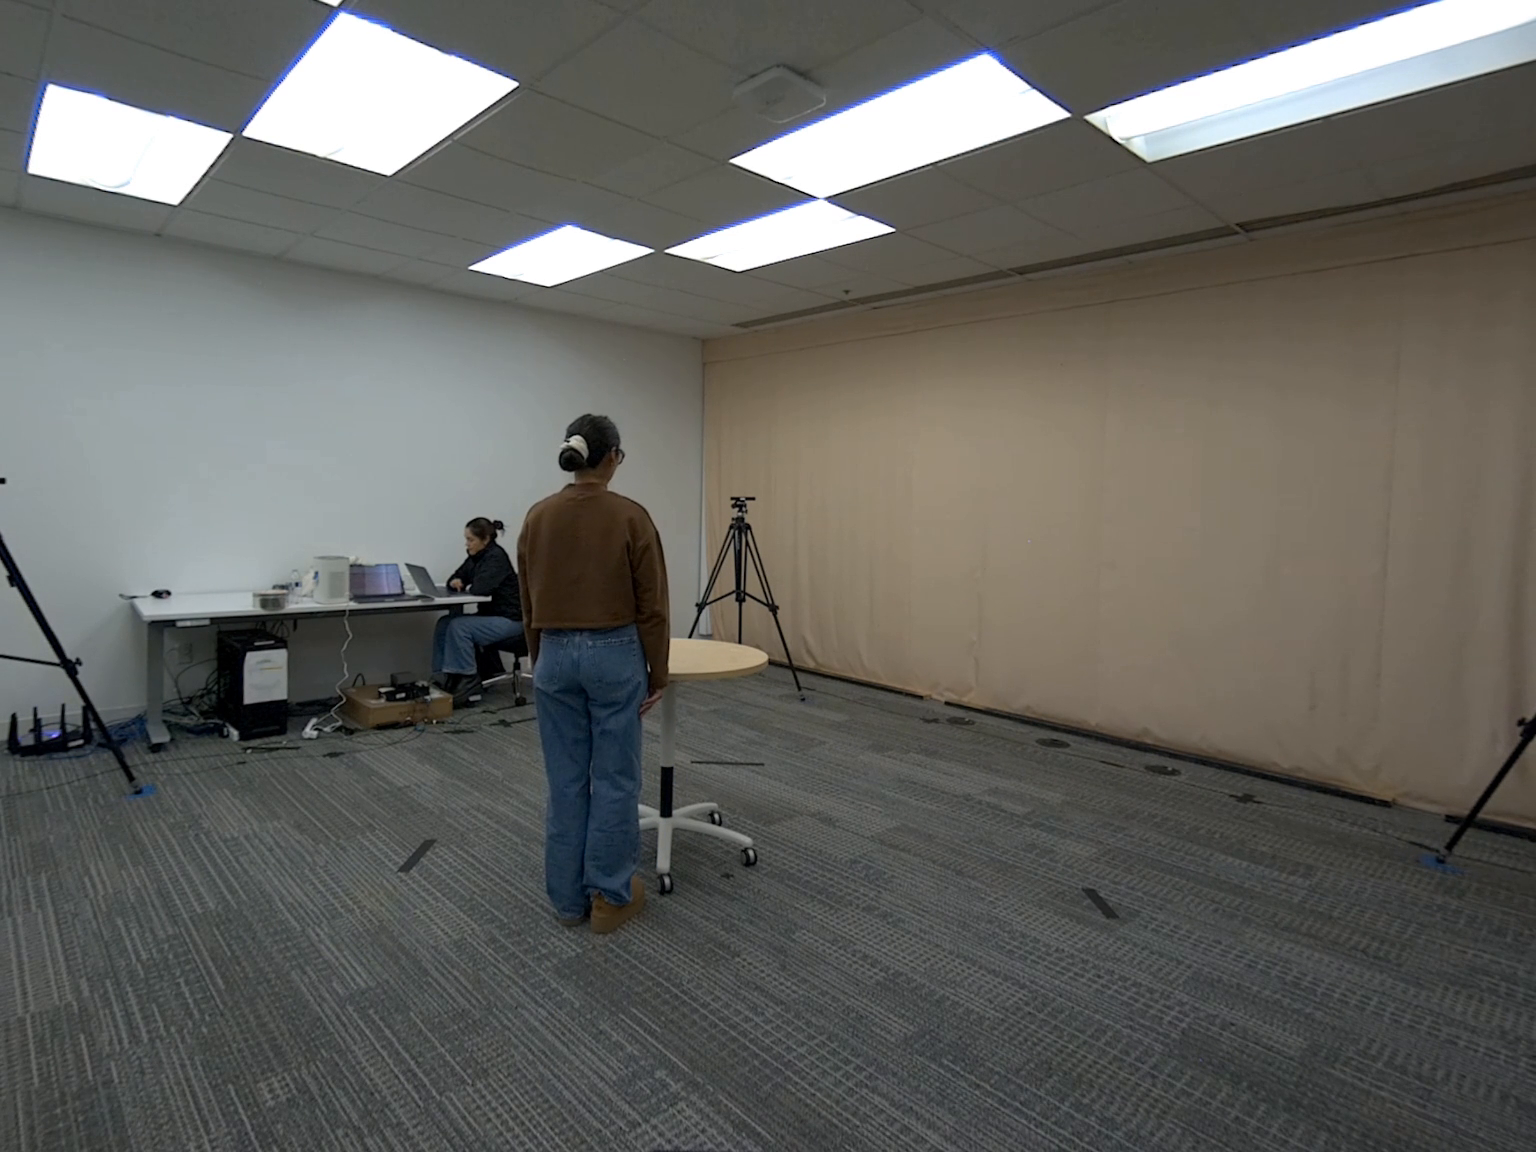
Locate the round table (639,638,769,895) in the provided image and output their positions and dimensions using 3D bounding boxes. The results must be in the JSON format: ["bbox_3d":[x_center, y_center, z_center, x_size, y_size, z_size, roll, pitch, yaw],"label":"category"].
[{"bbox_3d":[-0.399,0.697,3.291,0.763,0.792,0.766,1,4,-1],"label":"round table"}]
